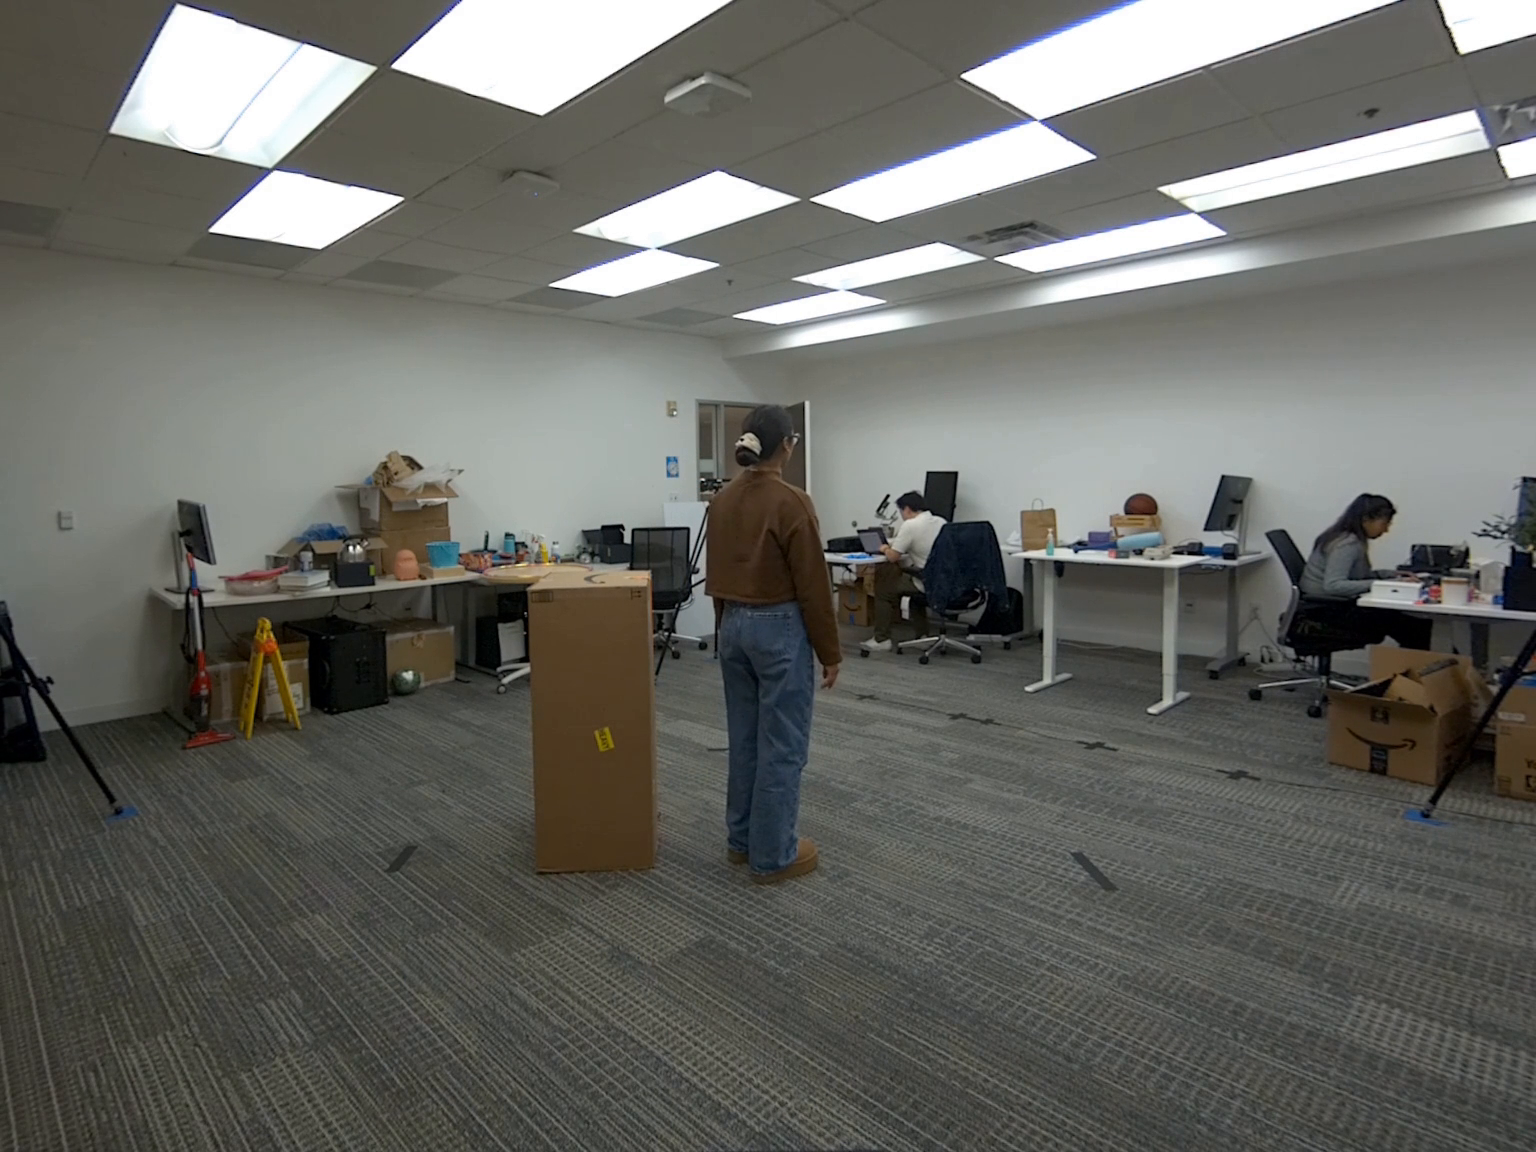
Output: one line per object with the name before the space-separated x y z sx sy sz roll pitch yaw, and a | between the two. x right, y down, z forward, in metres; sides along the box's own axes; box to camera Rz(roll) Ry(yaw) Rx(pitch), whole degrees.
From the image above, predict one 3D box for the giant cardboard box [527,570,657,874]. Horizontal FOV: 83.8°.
giant cardboard box | -0.663 0.518 3.326 0.424 1.022 0.583 -1 4 -6
